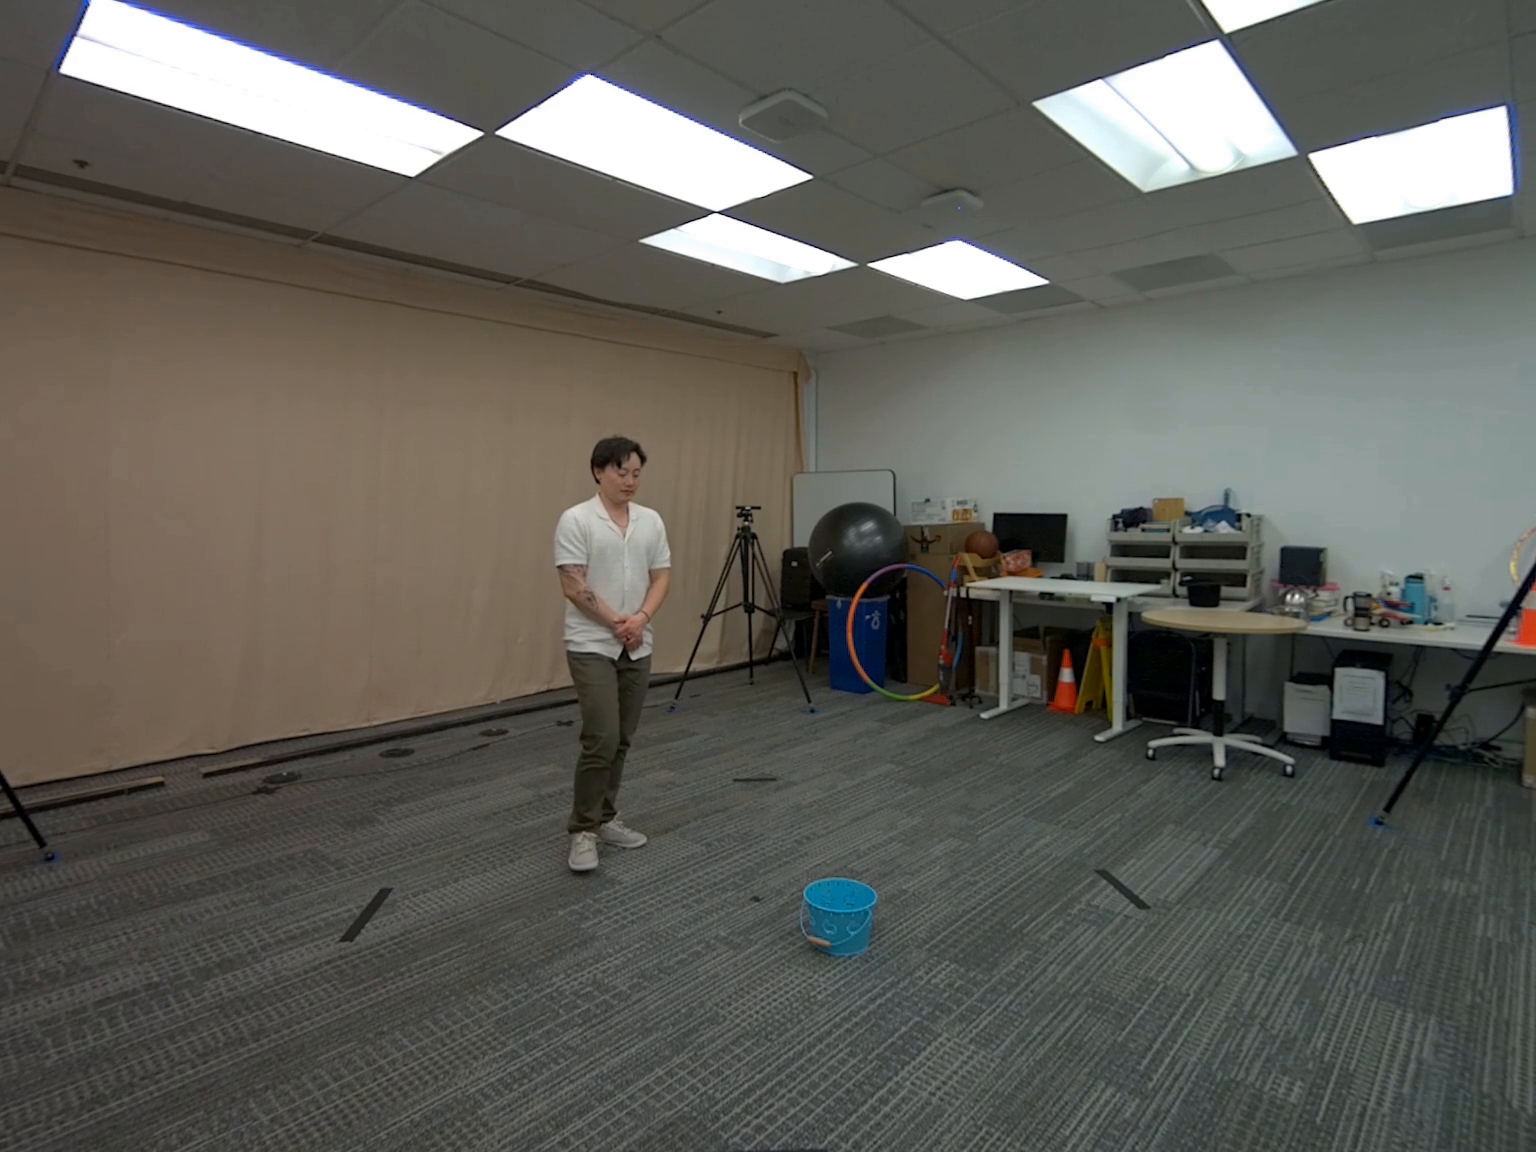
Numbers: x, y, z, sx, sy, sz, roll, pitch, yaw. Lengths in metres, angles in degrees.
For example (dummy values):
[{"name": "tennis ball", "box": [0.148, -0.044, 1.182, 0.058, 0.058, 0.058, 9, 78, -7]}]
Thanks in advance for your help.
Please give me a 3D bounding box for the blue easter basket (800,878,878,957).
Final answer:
[{"name": "blue easter basket", "box": [0.231, 1.089, 2.690, 0.243, 0.155, 0.244, 0, 4, -2]}]
